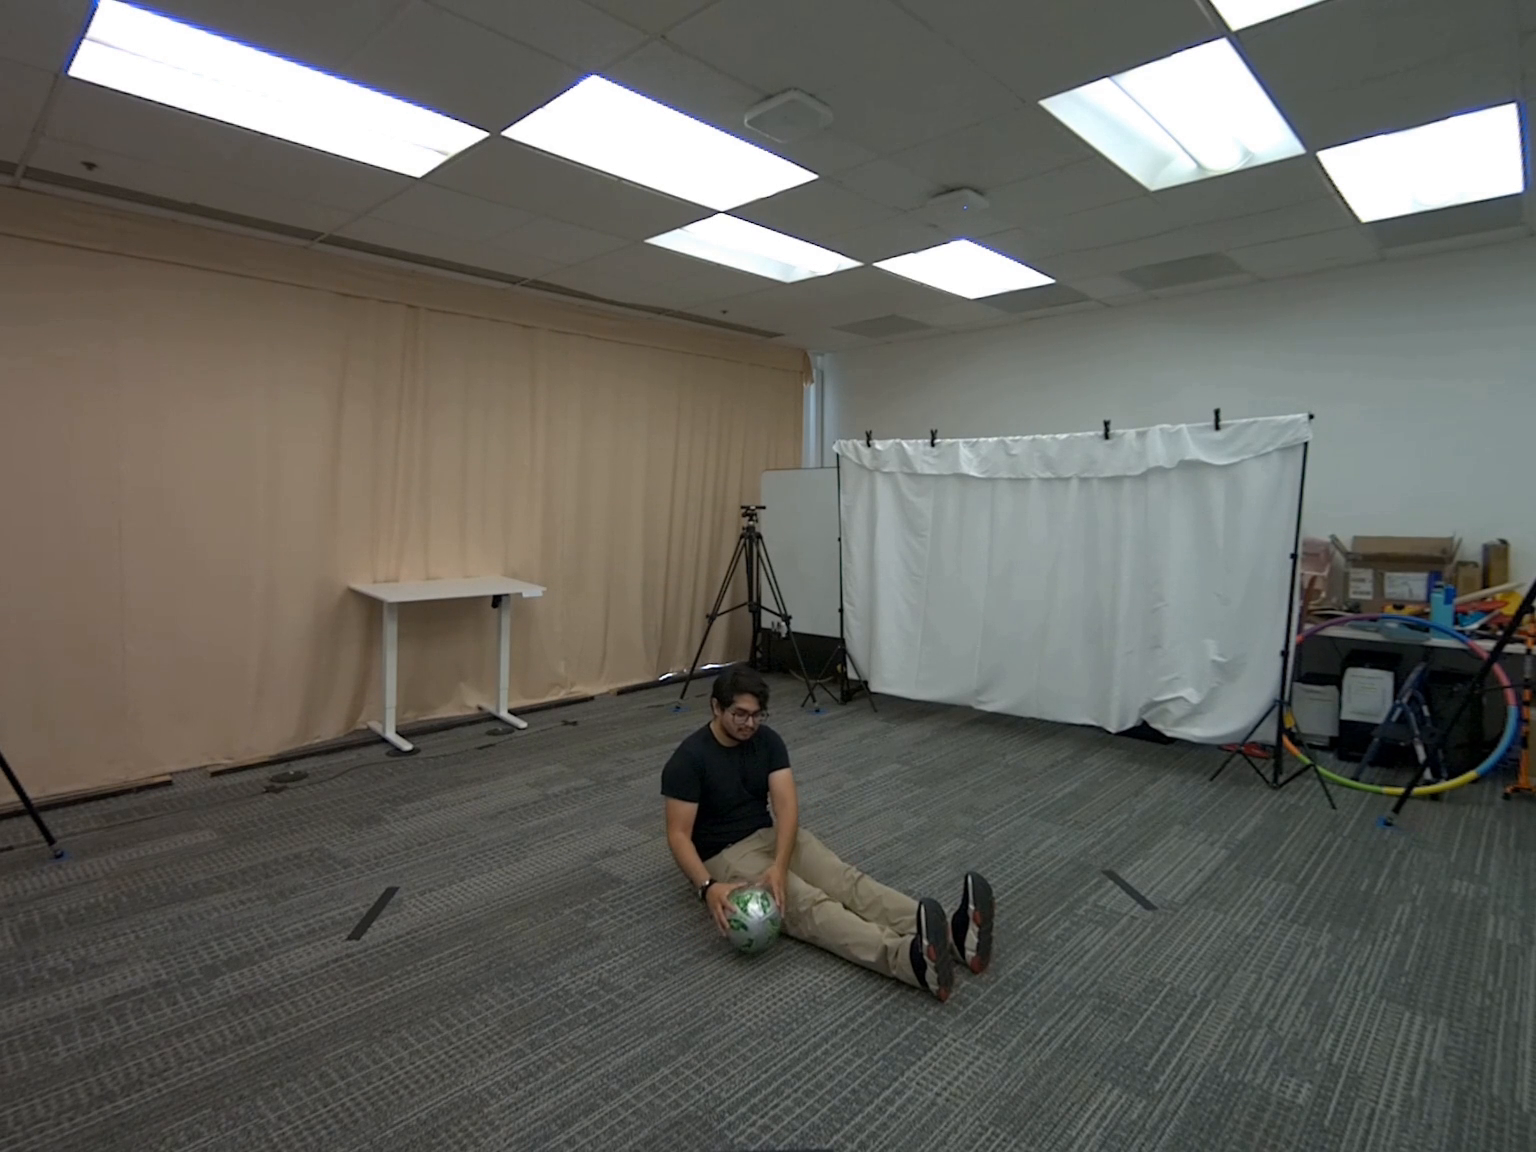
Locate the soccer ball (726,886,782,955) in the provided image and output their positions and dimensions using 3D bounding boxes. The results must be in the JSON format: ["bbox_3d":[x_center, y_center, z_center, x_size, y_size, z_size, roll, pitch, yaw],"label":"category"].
[{"bbox_3d":[-0.039,1.046,2.602,0.187,0.187,0.188,0,4,-2],"label":"soccer ball"}]
